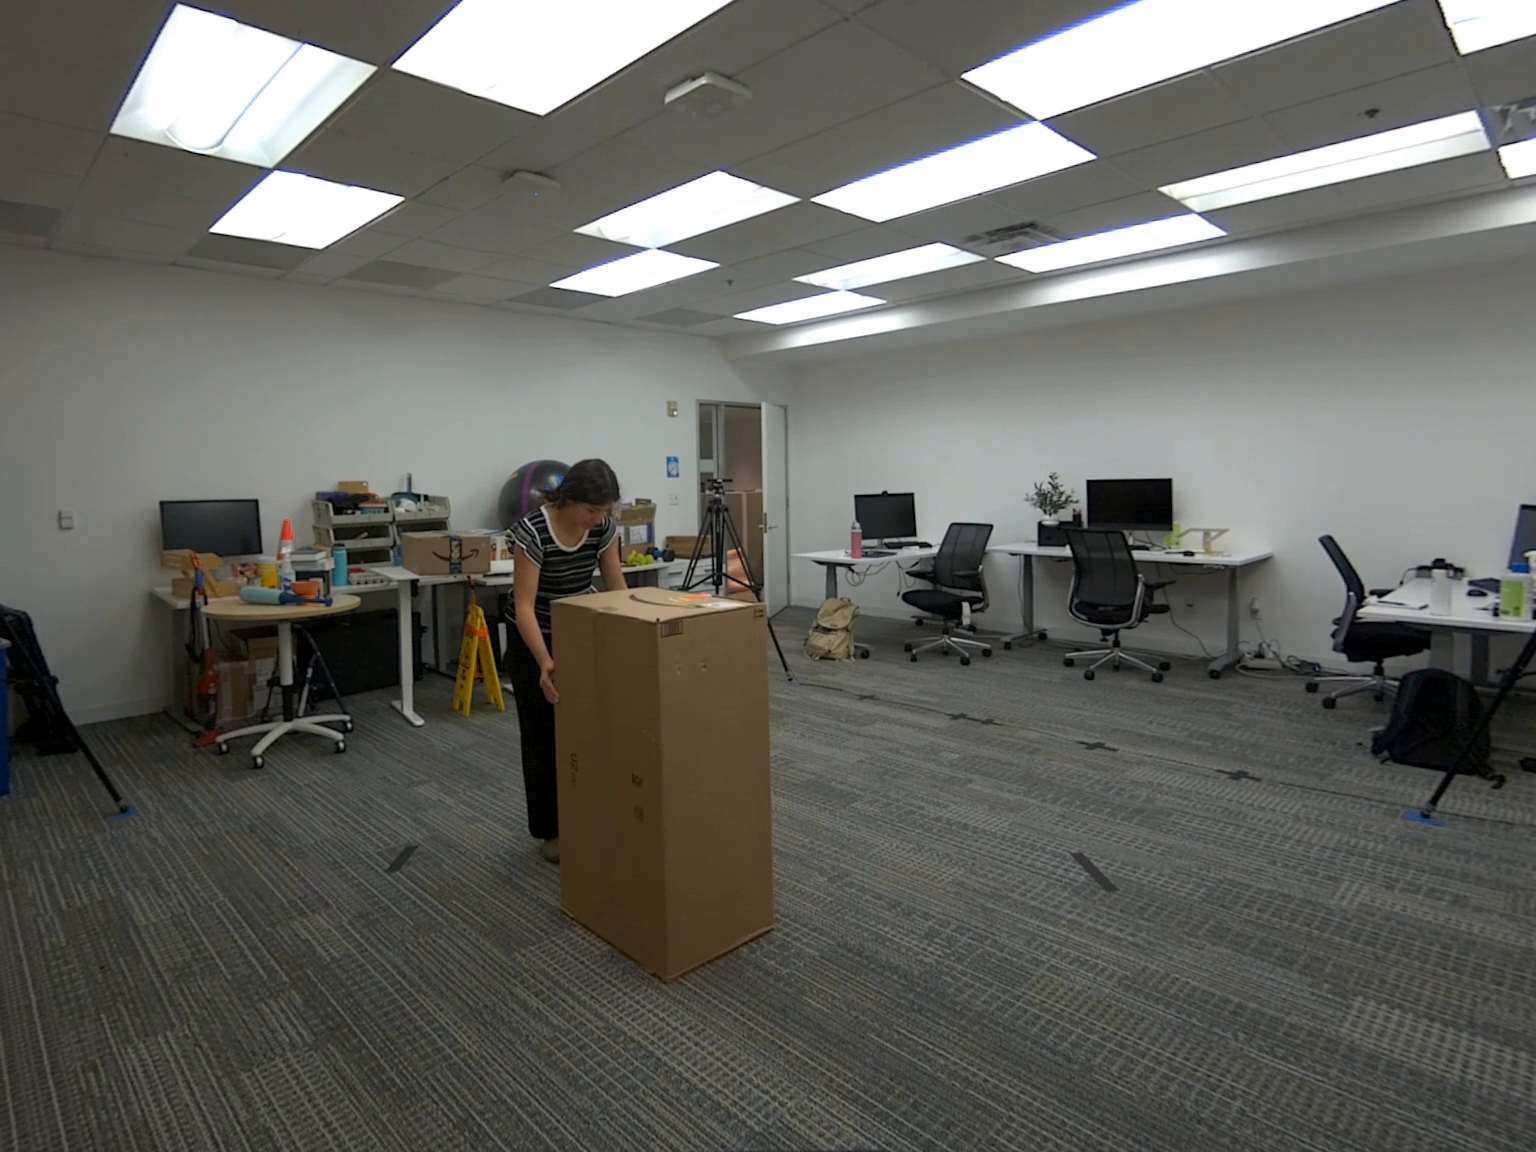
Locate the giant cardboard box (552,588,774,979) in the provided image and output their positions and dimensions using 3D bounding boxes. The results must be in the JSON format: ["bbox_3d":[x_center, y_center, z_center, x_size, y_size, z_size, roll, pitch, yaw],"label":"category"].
[{"bbox_3d":[-0.331,0.590,2.689,0.415,1.022,0.595,-5,6,-43],"label":"giant cardboard box"}]
